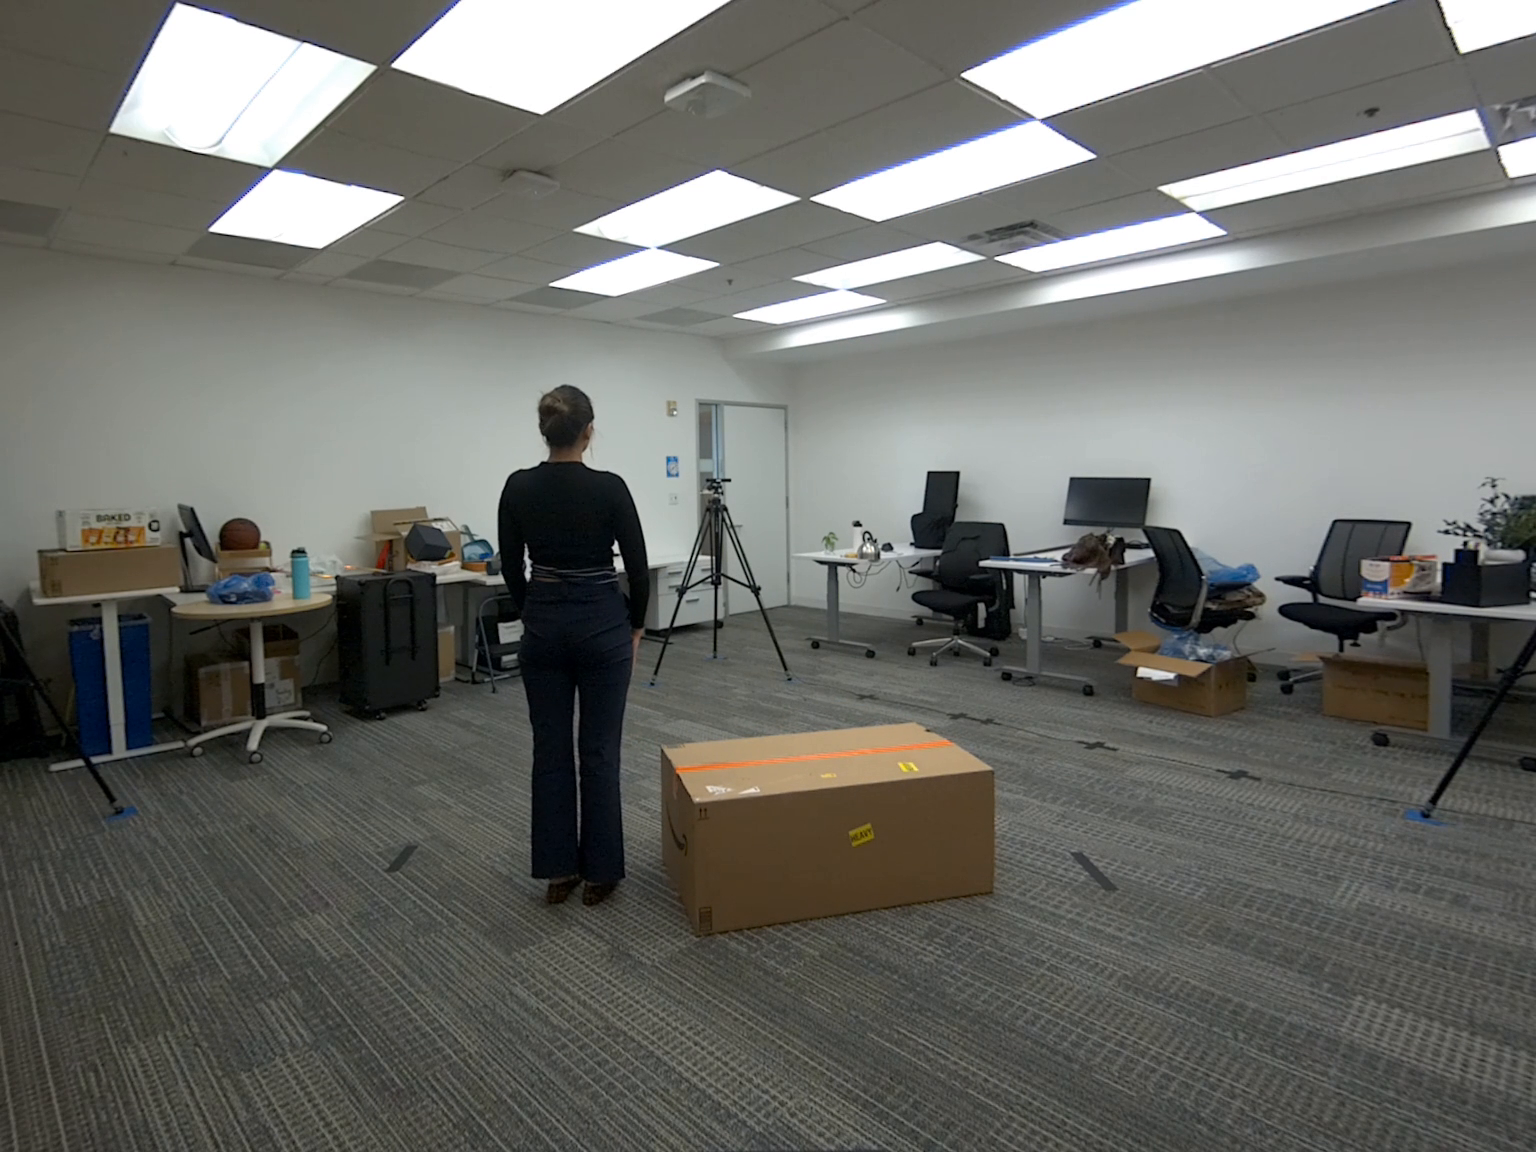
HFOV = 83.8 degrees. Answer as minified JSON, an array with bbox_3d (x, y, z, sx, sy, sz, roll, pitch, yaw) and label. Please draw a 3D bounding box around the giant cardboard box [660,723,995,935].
[{"bbox_3d":[0.179,0.834,2.995,1.012,0.424,0.588,-3,7,-15],"label":"giant cardboard box"}]
